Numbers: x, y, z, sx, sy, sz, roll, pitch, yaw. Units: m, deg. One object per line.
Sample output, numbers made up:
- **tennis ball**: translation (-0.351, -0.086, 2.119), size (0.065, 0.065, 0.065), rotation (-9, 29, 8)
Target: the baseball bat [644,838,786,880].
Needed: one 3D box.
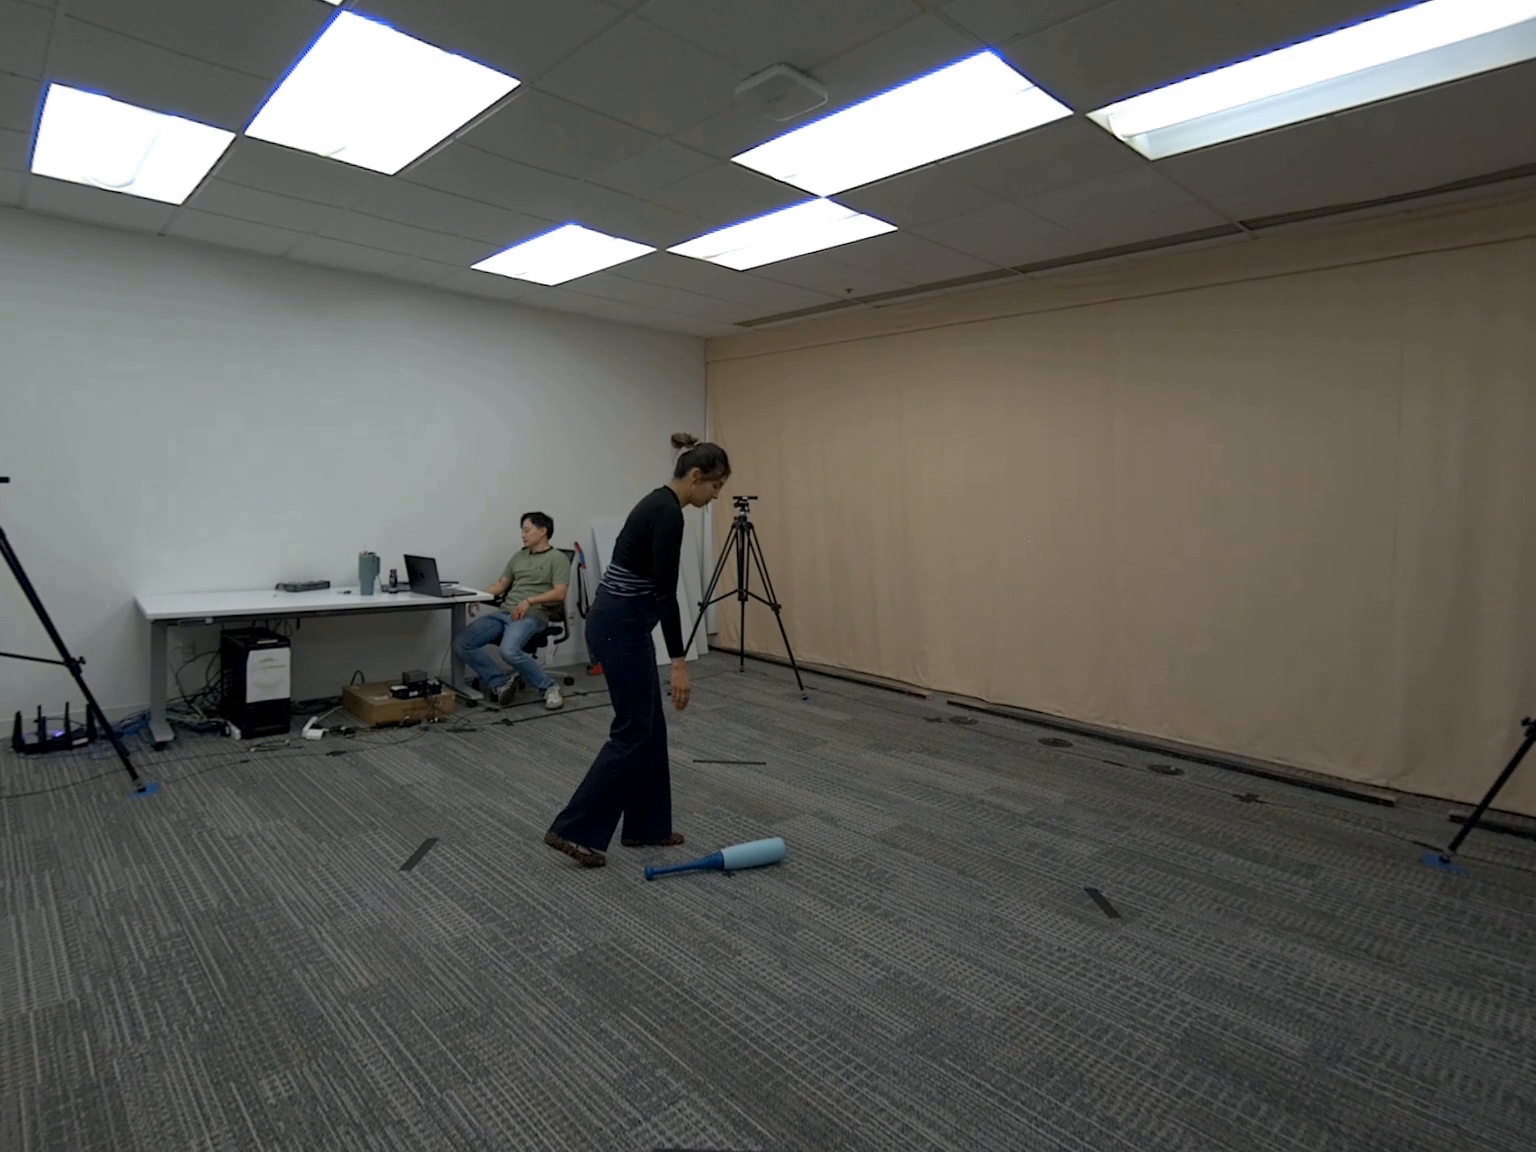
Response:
- **baseball bat**: translation (-0.198, 1.066, 3.130), size (0.536, 0.089, 0.090), rotation (-5, 6, -19)
